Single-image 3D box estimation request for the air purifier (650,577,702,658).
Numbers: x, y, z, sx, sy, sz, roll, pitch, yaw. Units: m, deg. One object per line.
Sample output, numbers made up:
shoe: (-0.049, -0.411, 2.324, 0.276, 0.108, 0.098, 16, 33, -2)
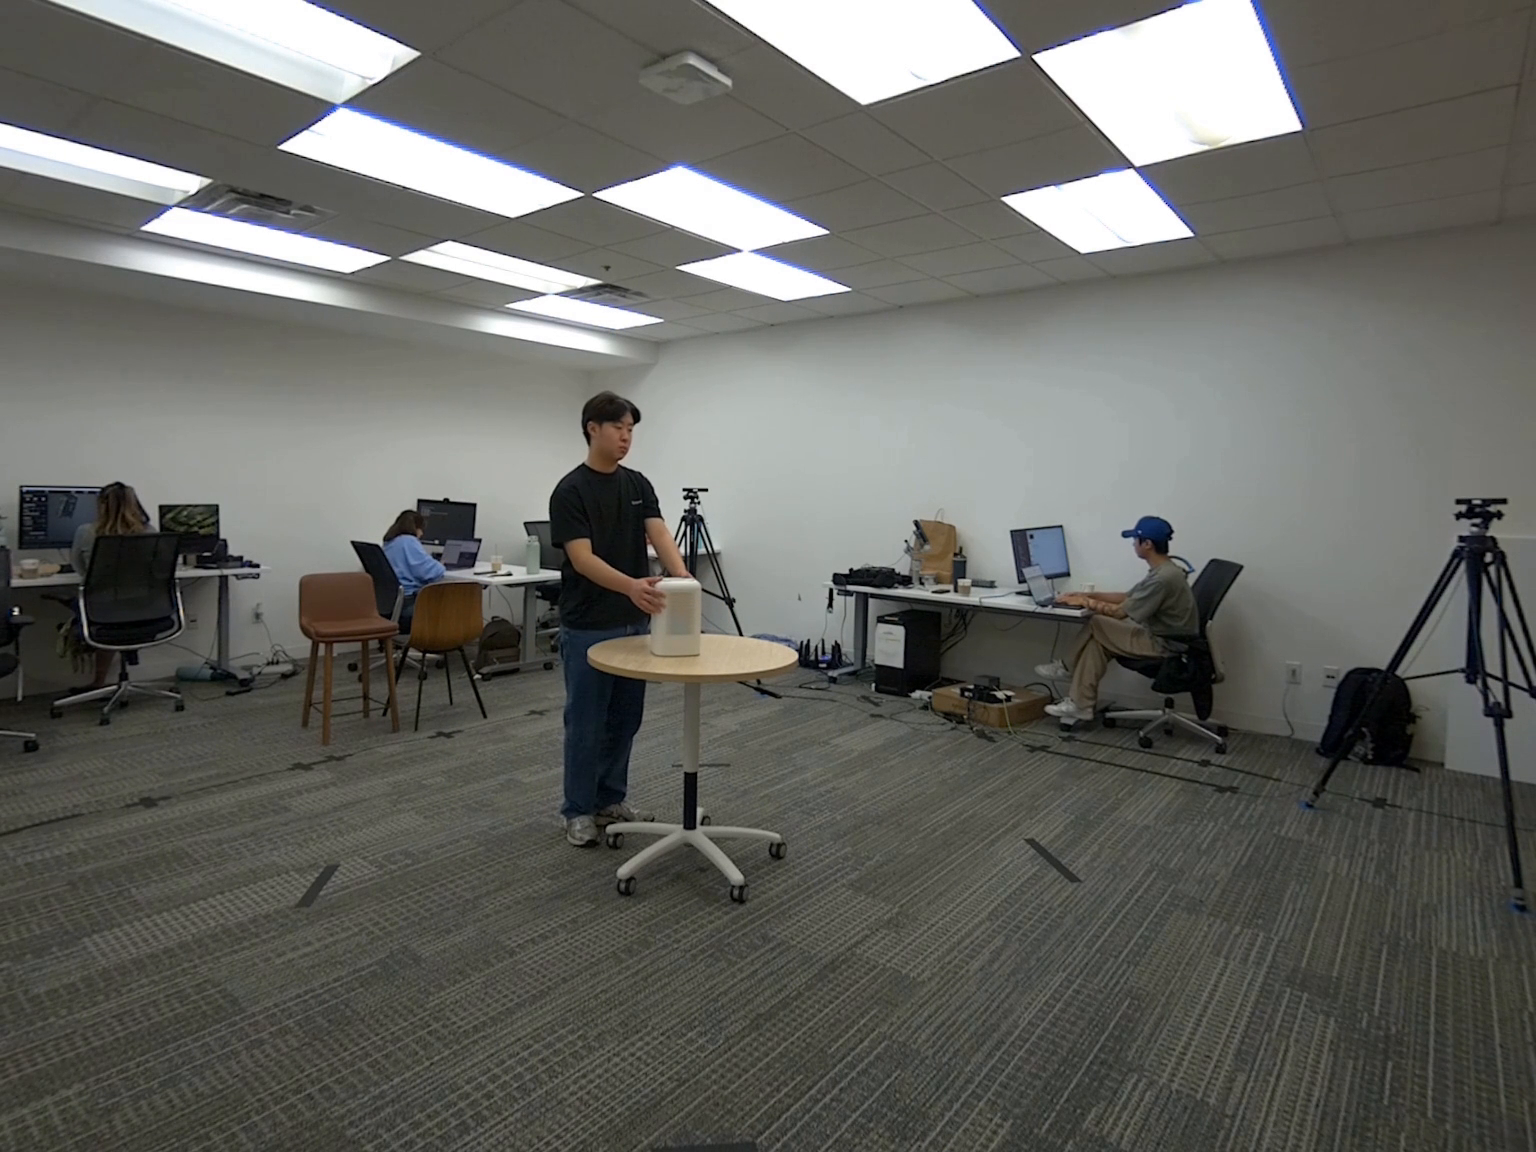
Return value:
air purifier: (-0.346, 0.145, 3.071, 0.170, 0.265, 0.173, -1, 3, -12)
